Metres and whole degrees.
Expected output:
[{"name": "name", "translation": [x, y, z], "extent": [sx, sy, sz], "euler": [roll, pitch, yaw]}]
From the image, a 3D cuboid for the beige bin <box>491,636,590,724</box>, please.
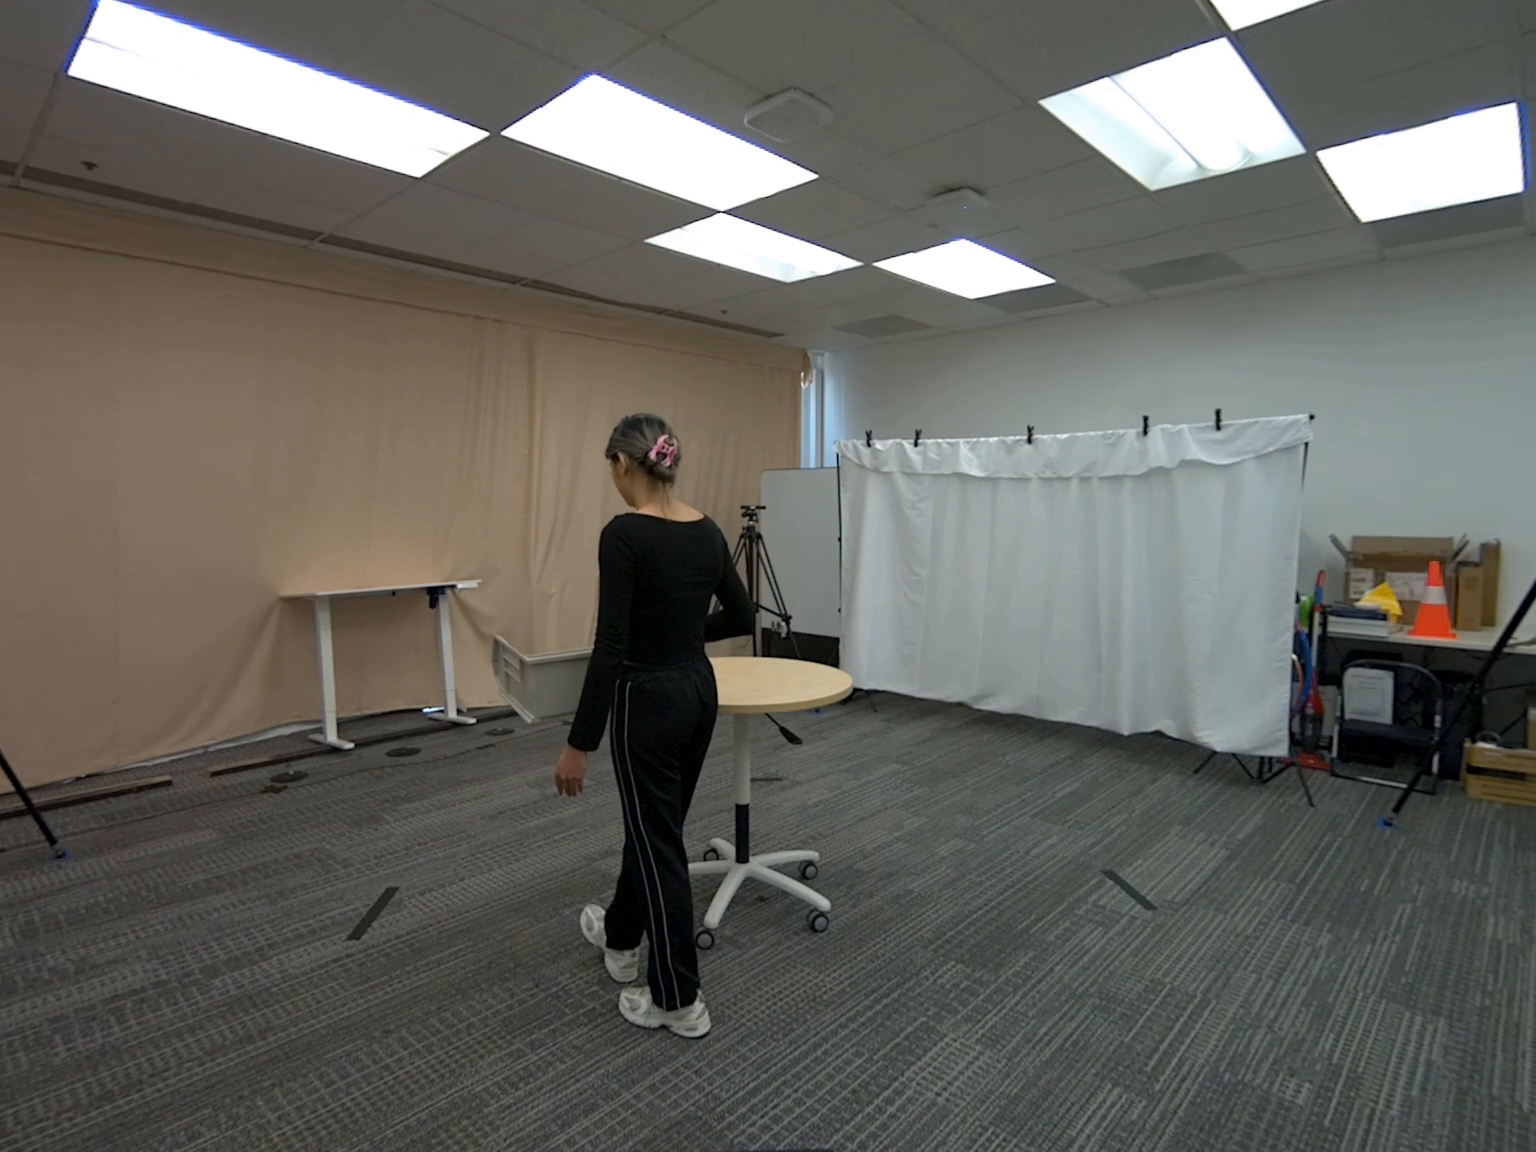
[{"name": "beige bin", "translation": [-0.551, 0.259, 2.478], "extent": [0.411, 0.188, 0.390], "euler": [-6, 13, -30]}]
